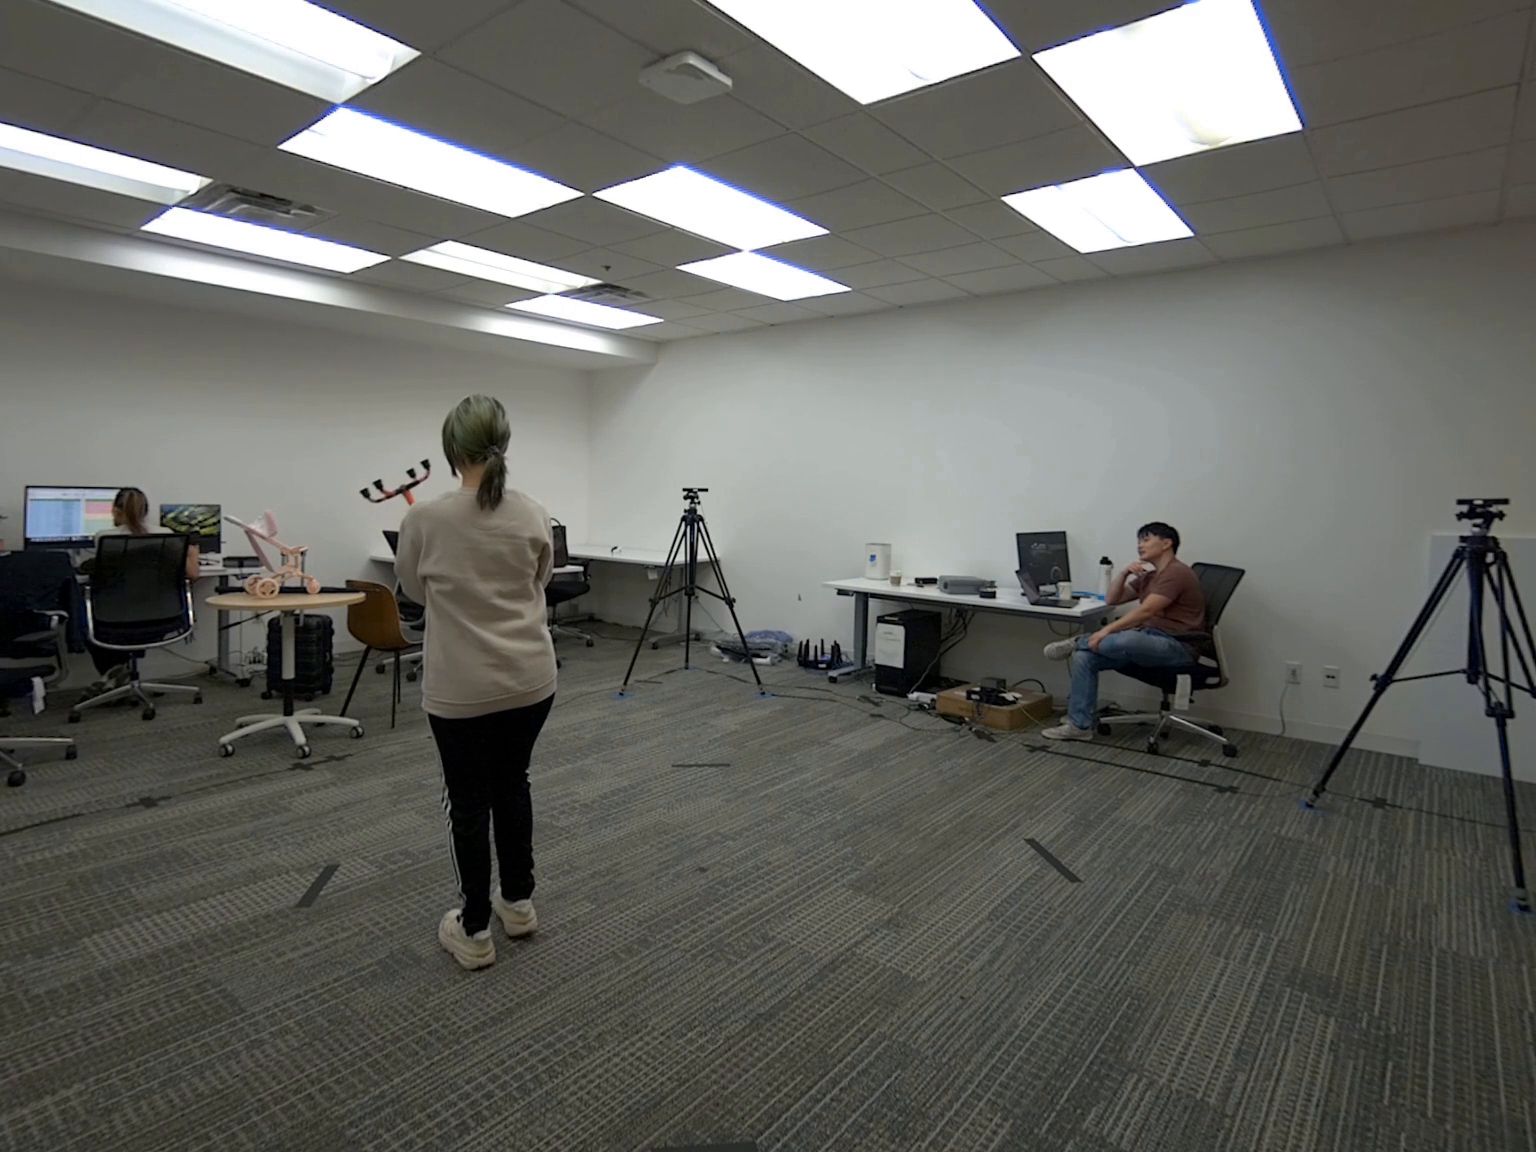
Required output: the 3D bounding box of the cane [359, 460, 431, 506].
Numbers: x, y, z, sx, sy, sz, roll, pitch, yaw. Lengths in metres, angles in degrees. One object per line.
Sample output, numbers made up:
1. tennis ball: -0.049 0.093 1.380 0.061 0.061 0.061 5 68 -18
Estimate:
1. cane: -1.051 0.066 2.869 0.155 0.898 0.204 -17 12 47
